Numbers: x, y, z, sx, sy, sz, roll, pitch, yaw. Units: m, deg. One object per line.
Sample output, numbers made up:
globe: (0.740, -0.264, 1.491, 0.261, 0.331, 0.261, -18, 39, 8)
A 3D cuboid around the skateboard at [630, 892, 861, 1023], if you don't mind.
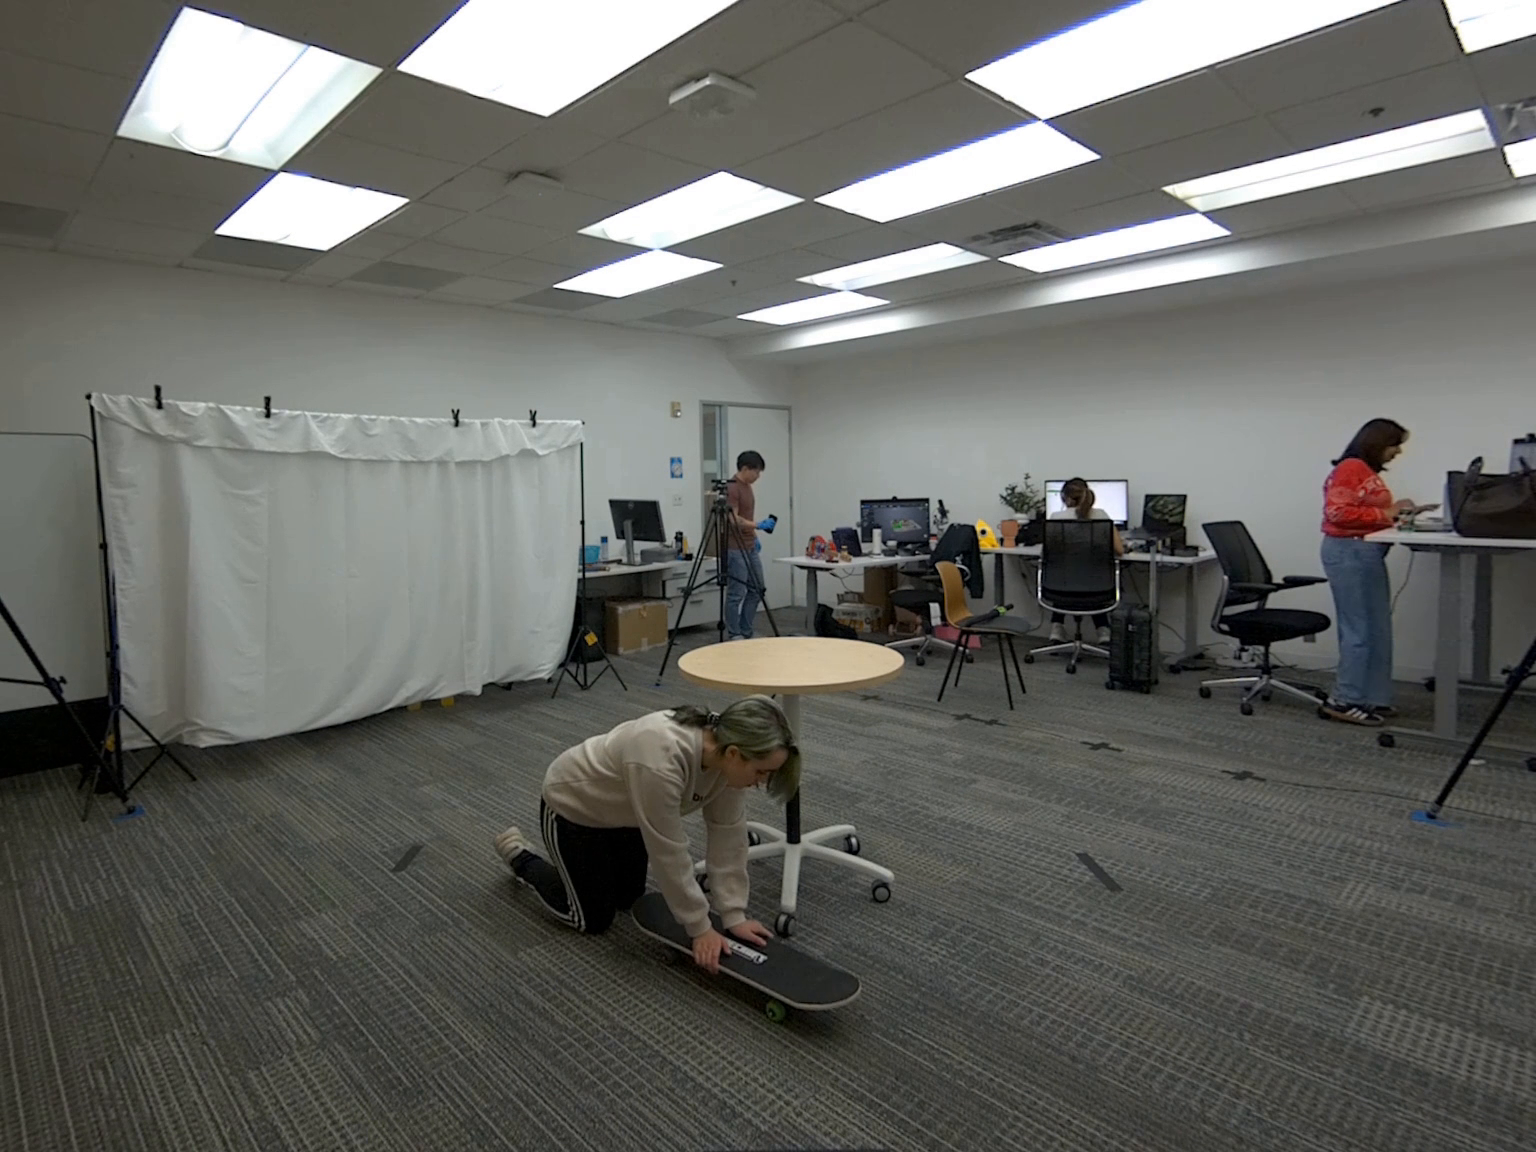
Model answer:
skateboard: (-0.085, 1.077, 2.394, 0.809, 0.110, 0.189, 4, 9, 41)
